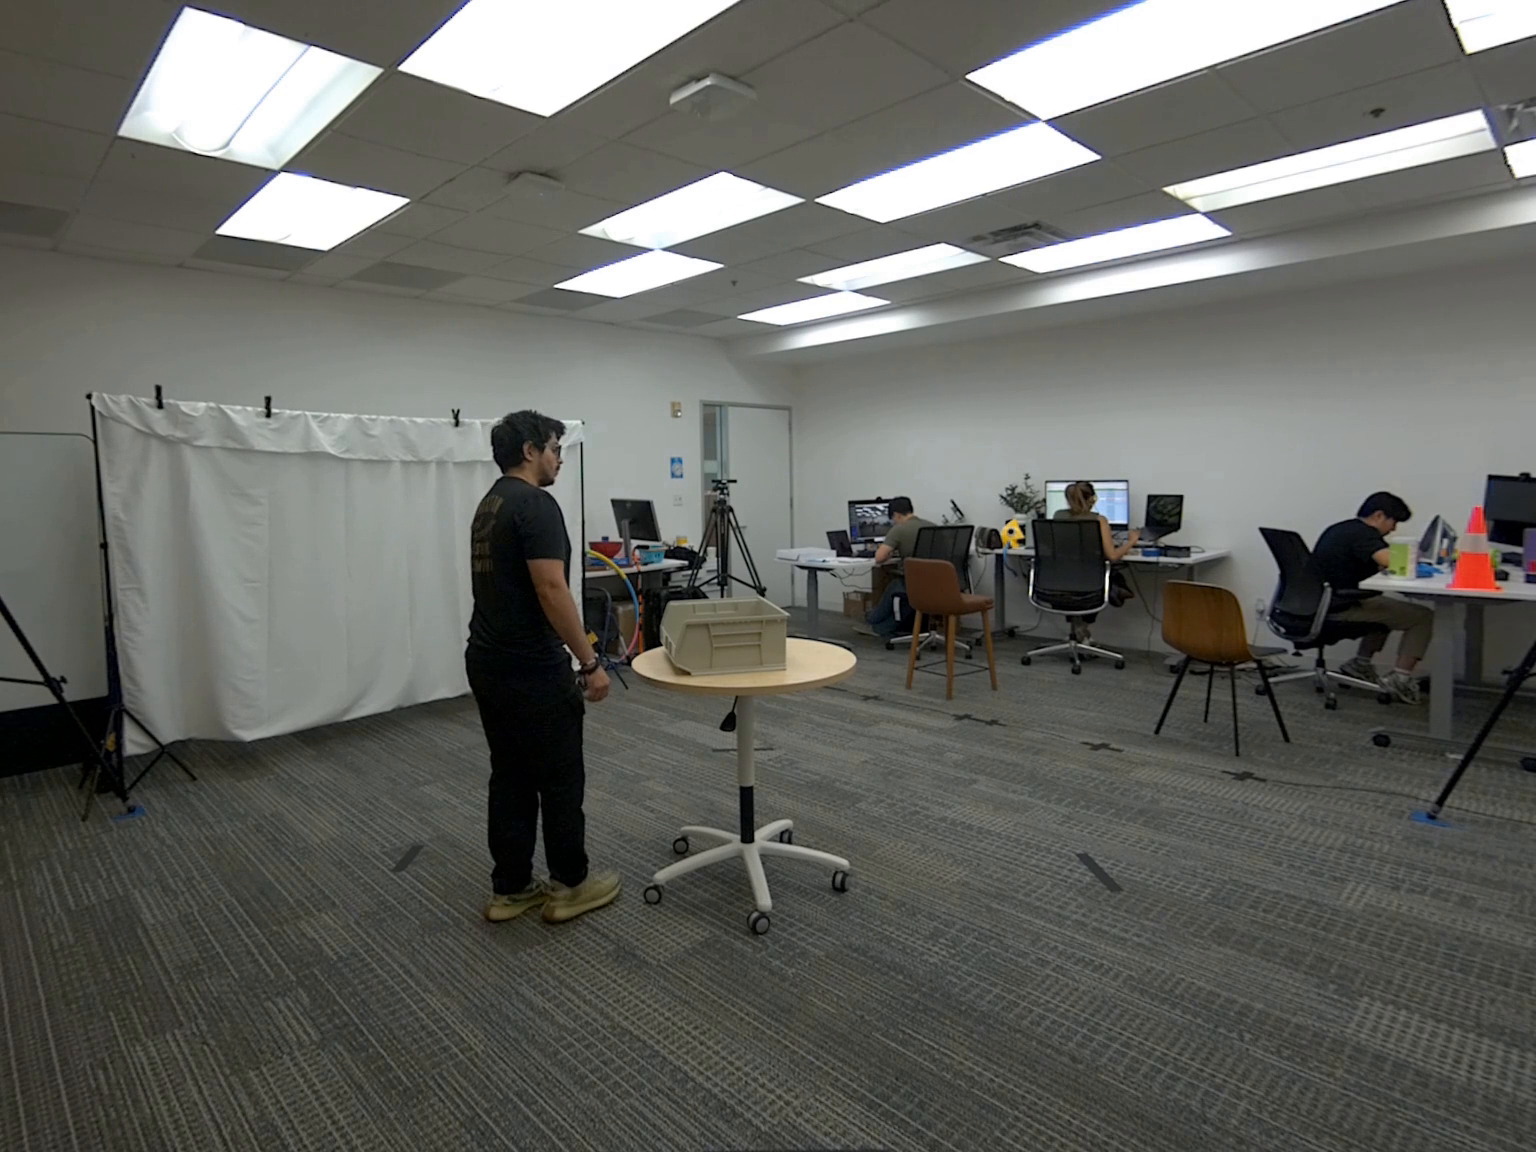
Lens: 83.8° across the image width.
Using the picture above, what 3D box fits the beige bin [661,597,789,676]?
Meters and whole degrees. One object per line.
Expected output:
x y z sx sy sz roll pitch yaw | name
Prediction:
-0.158 0.196 2.918 0.373 0.188 0.429 -2 5 -13 | beige bin
